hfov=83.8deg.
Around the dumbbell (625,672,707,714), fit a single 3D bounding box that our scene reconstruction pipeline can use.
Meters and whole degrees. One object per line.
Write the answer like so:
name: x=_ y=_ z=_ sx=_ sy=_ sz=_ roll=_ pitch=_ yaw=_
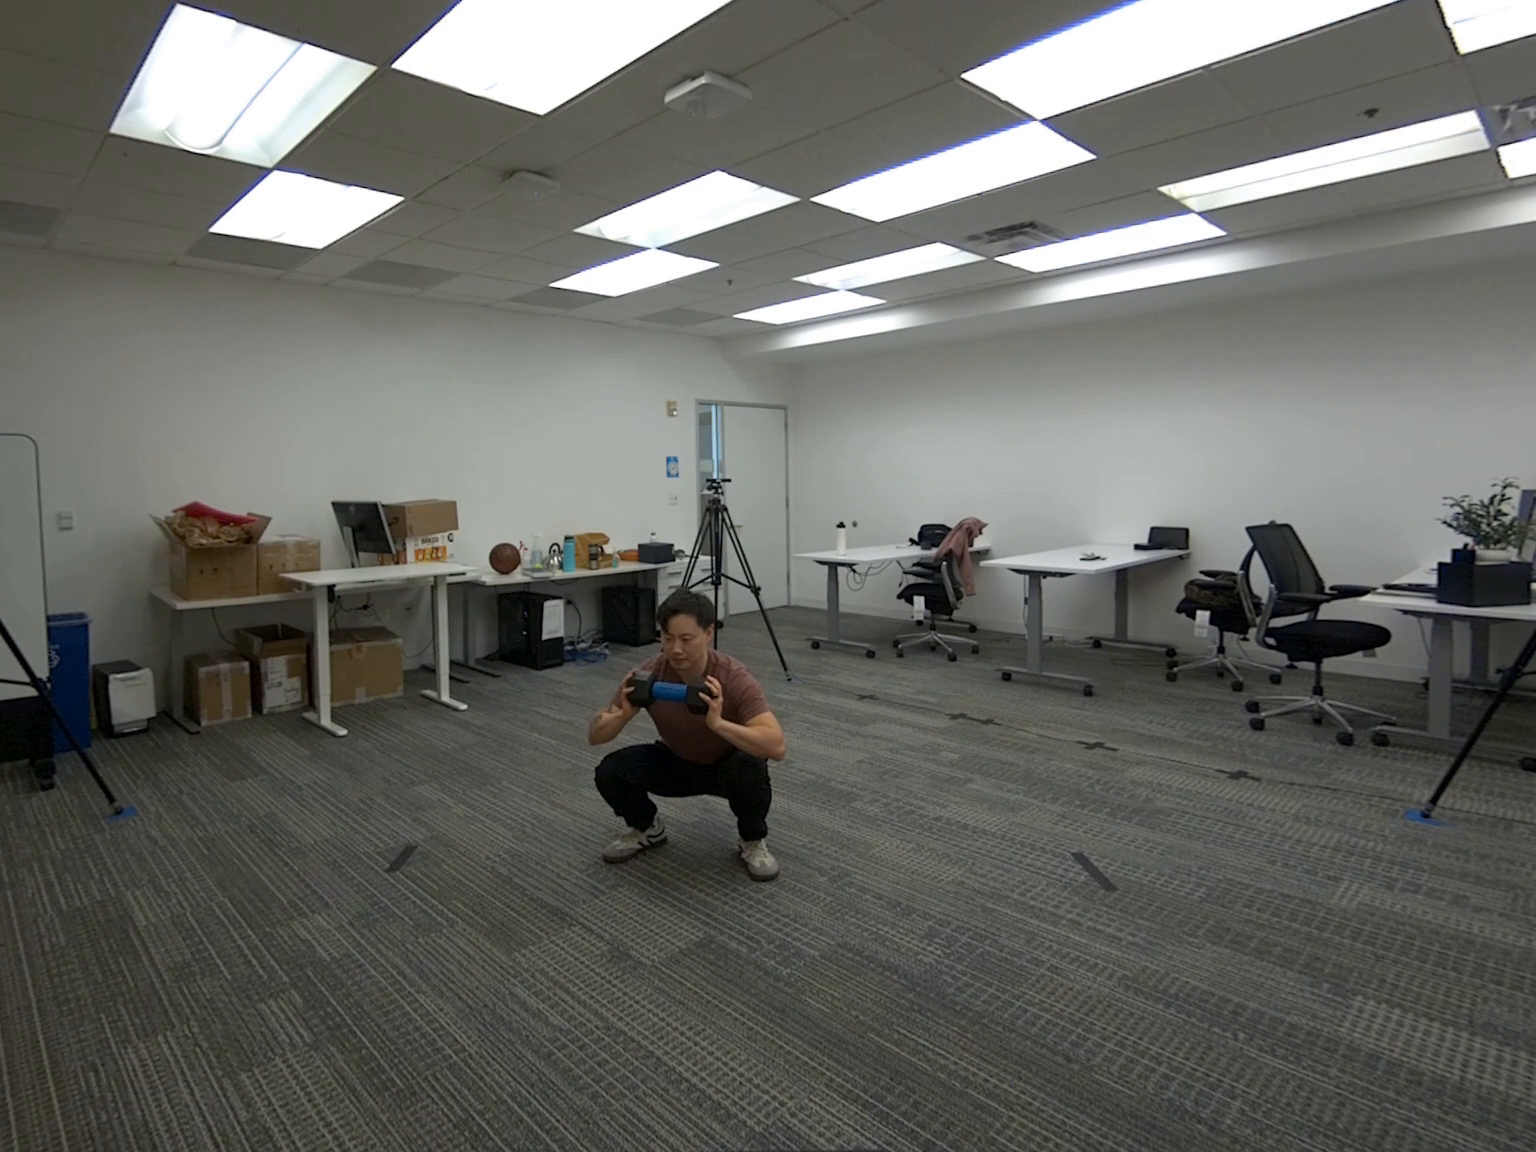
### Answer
dumbbell: x=-0.338 y=0.381 z=2.869 sx=0.299 sy=0.110 sz=0.119 roll=5 pitch=-37 yaw=16
